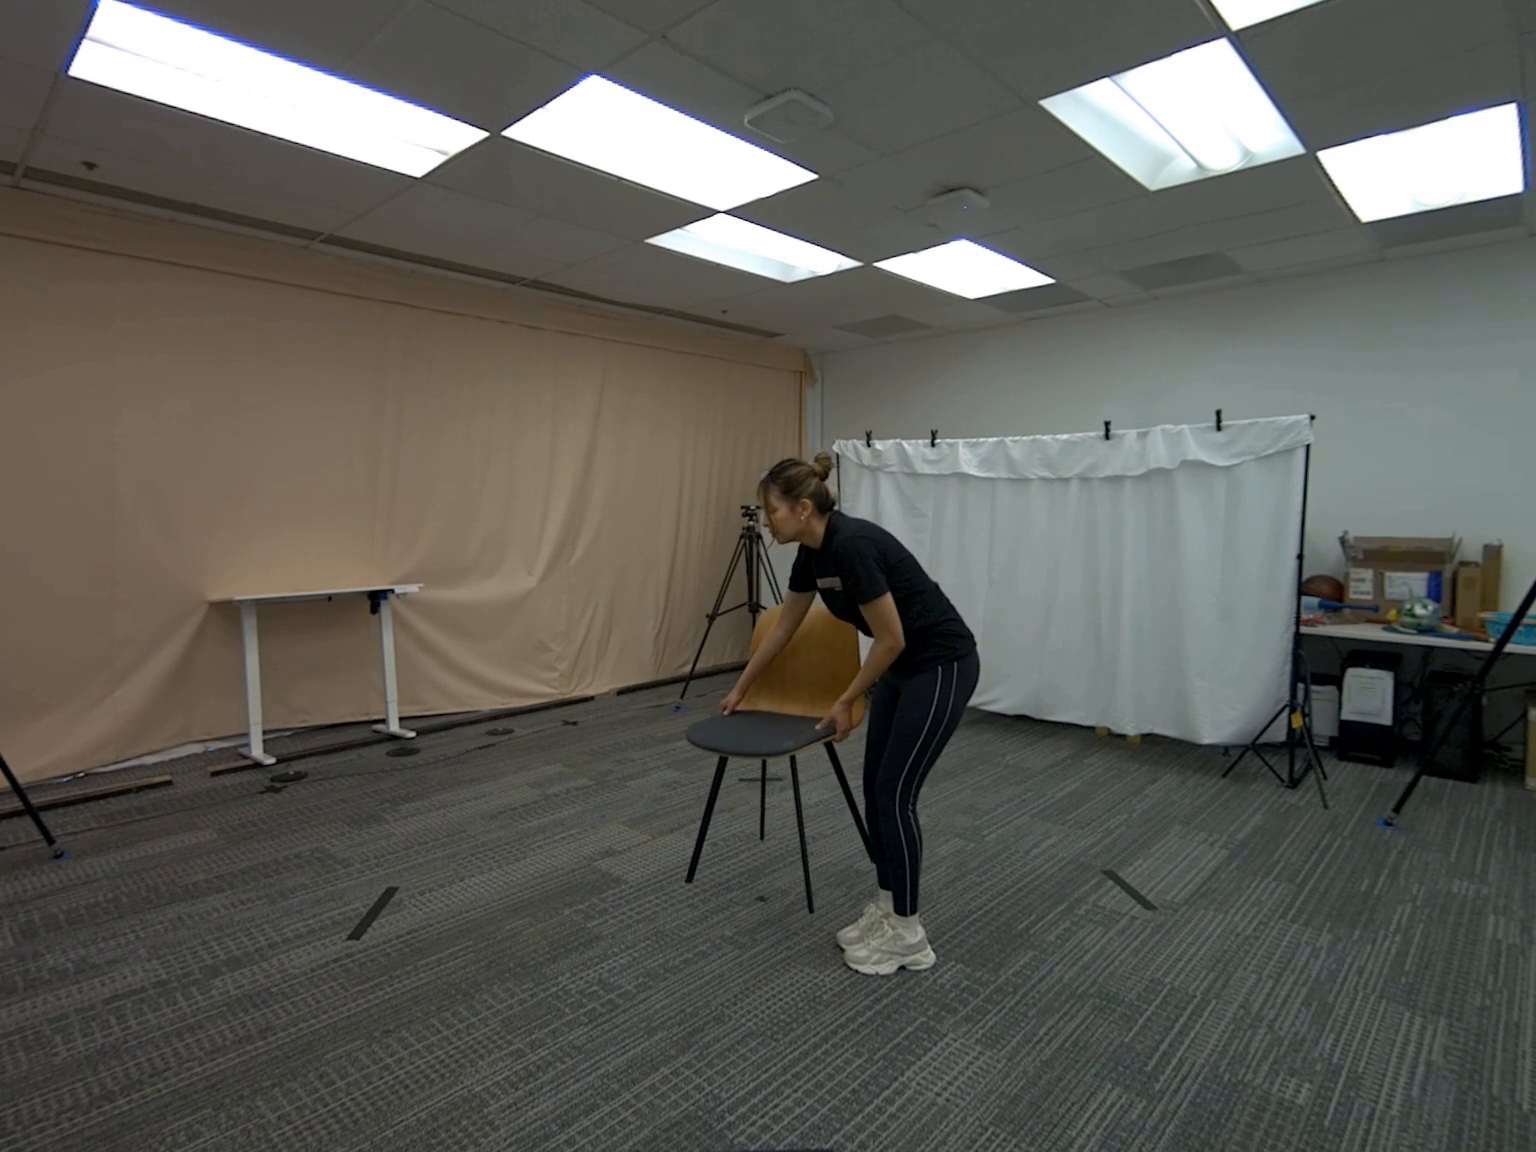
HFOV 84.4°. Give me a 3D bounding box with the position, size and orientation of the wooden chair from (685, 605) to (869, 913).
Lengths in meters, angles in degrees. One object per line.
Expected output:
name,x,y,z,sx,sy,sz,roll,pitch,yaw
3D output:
wooden chair,0.029,0.529,2.683,0.492,0.878,0.507,0,-2,33
